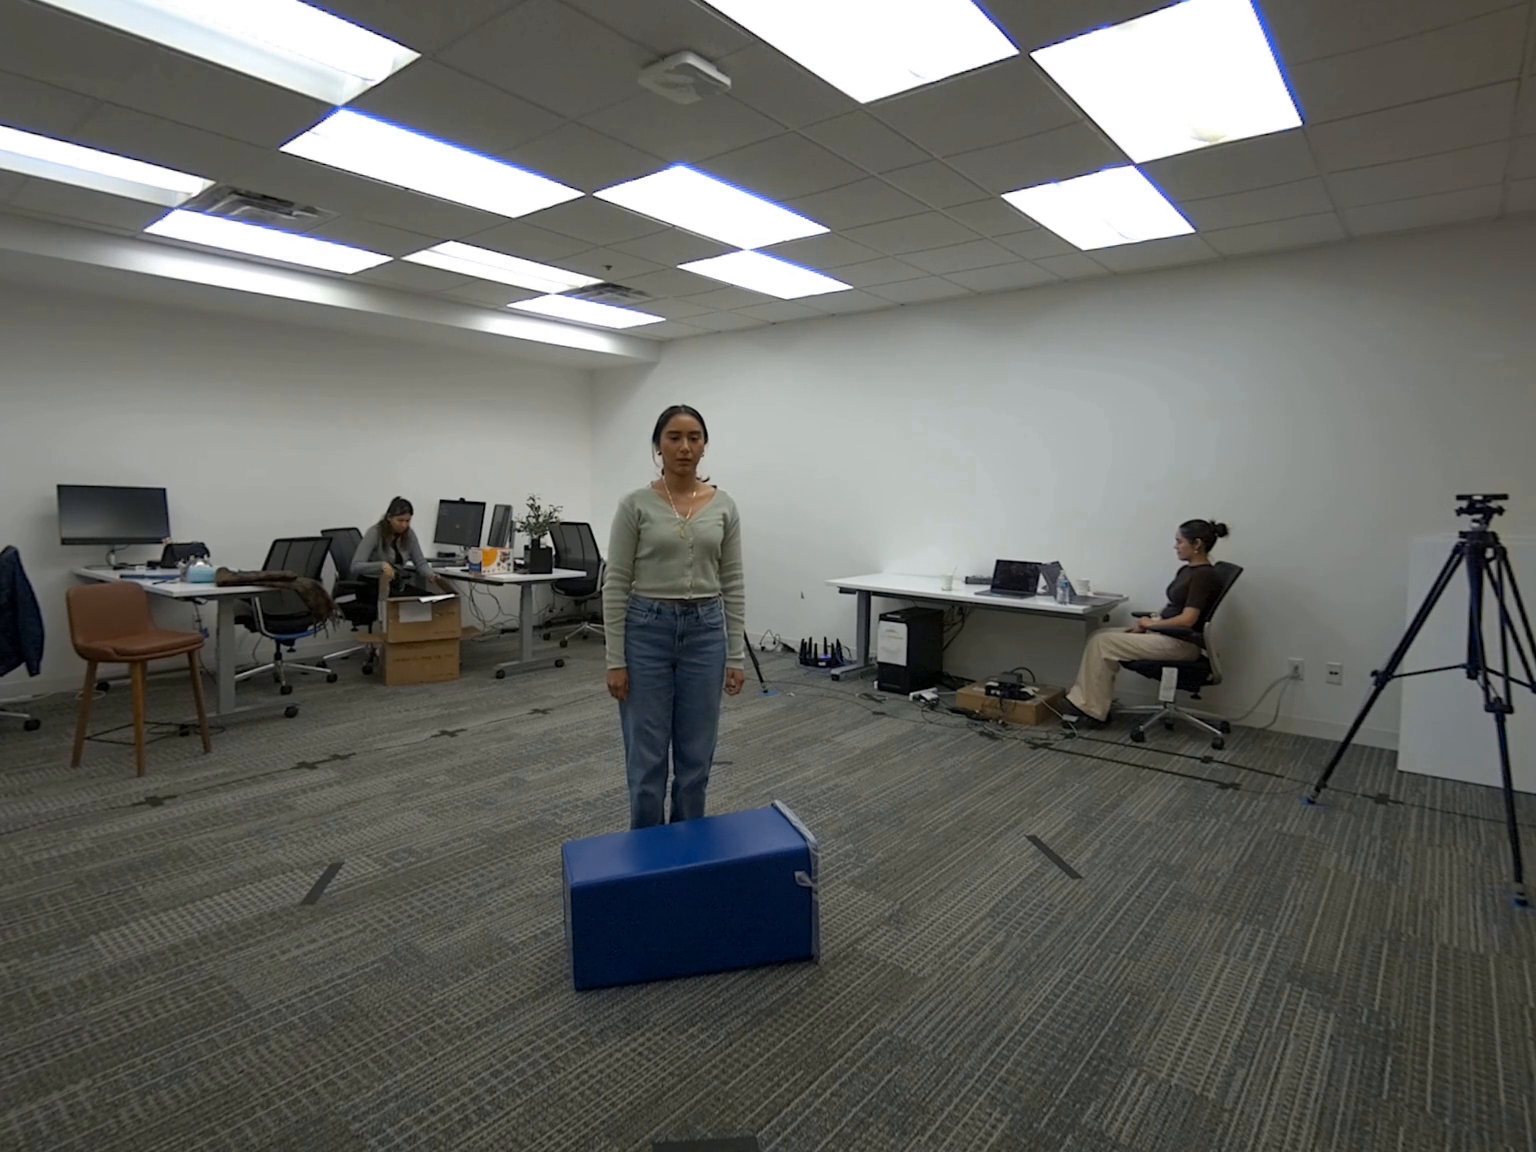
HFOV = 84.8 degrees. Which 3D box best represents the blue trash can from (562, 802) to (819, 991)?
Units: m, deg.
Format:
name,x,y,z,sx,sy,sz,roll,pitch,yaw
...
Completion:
name,x,y,z,sx,sy,sz,roll,pitch,yaw
blue trash can,-0.248,0.943,2.555,0.703,0.377,0.381,-3,4,-15
